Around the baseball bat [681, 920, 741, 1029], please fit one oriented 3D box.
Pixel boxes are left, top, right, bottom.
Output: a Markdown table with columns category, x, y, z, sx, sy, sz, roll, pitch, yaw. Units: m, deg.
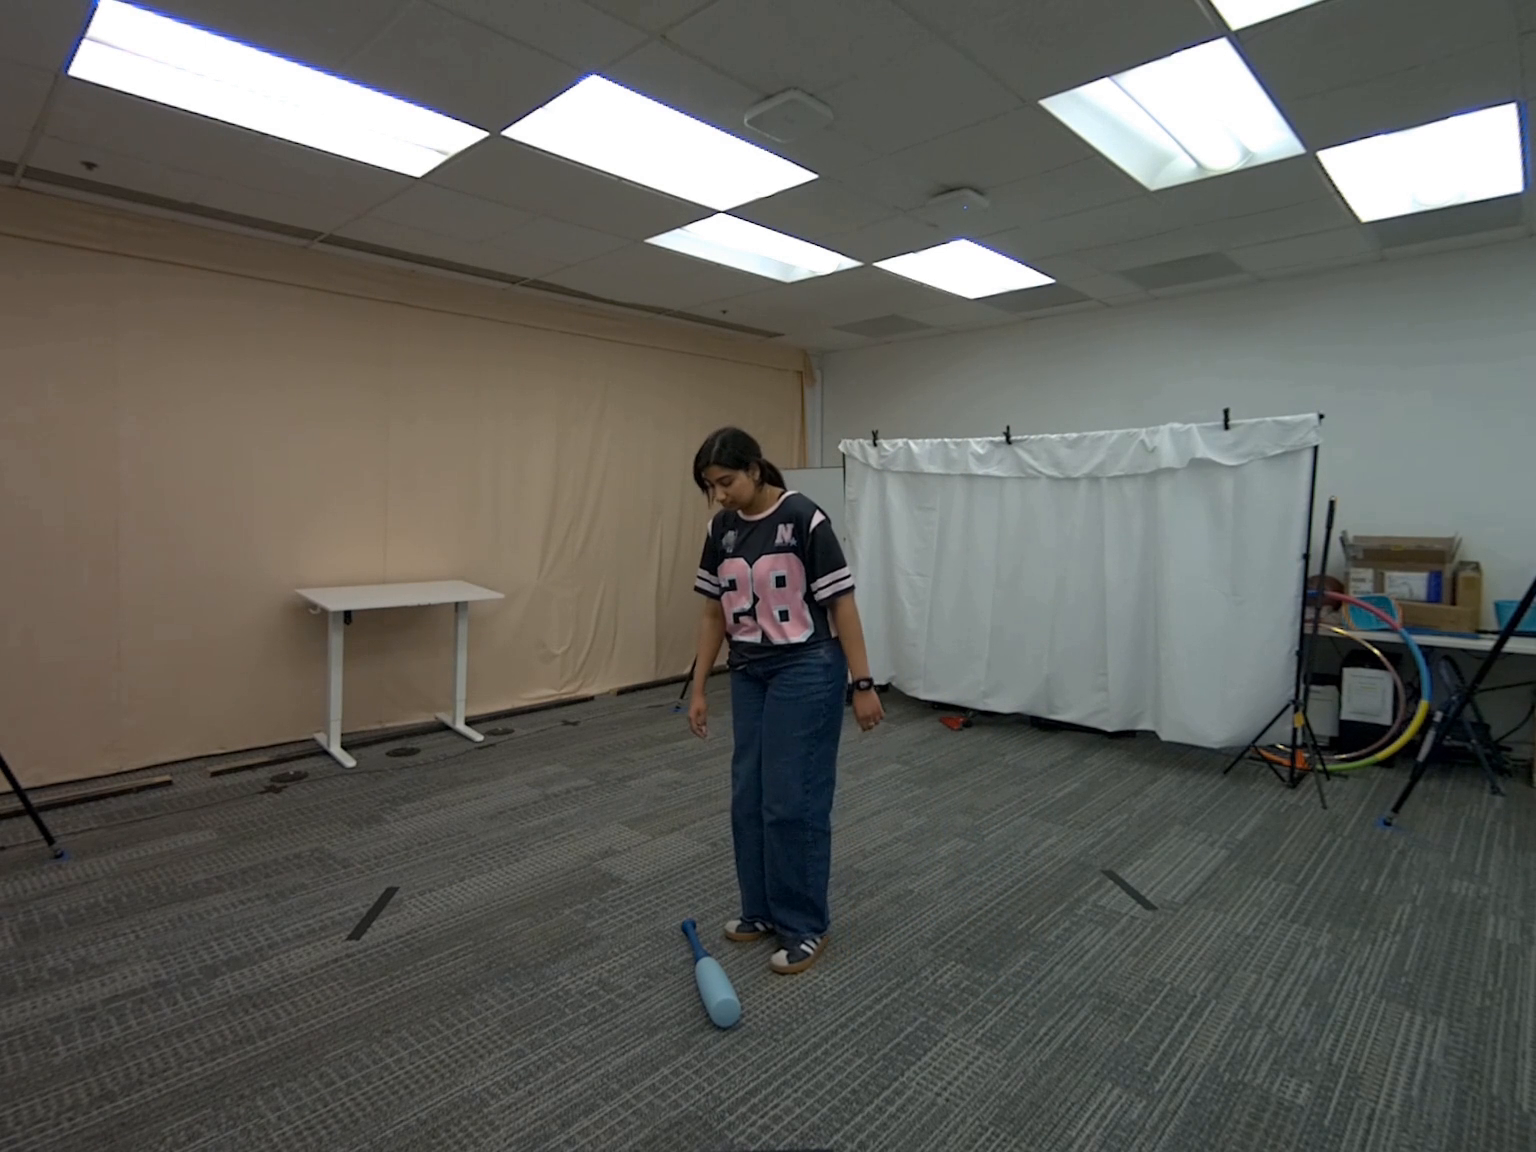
| category | x | y | z | sx | sy | sz | roll | pitch | yaw |
| --- | --- | --- | --- | --- | --- | --- | --- | --- | --- |
| baseball bat | -0.184 | 1.152 | 2.476 | 0.088 | 0.089 | 0.552 | -1 | 2 | -16 |
